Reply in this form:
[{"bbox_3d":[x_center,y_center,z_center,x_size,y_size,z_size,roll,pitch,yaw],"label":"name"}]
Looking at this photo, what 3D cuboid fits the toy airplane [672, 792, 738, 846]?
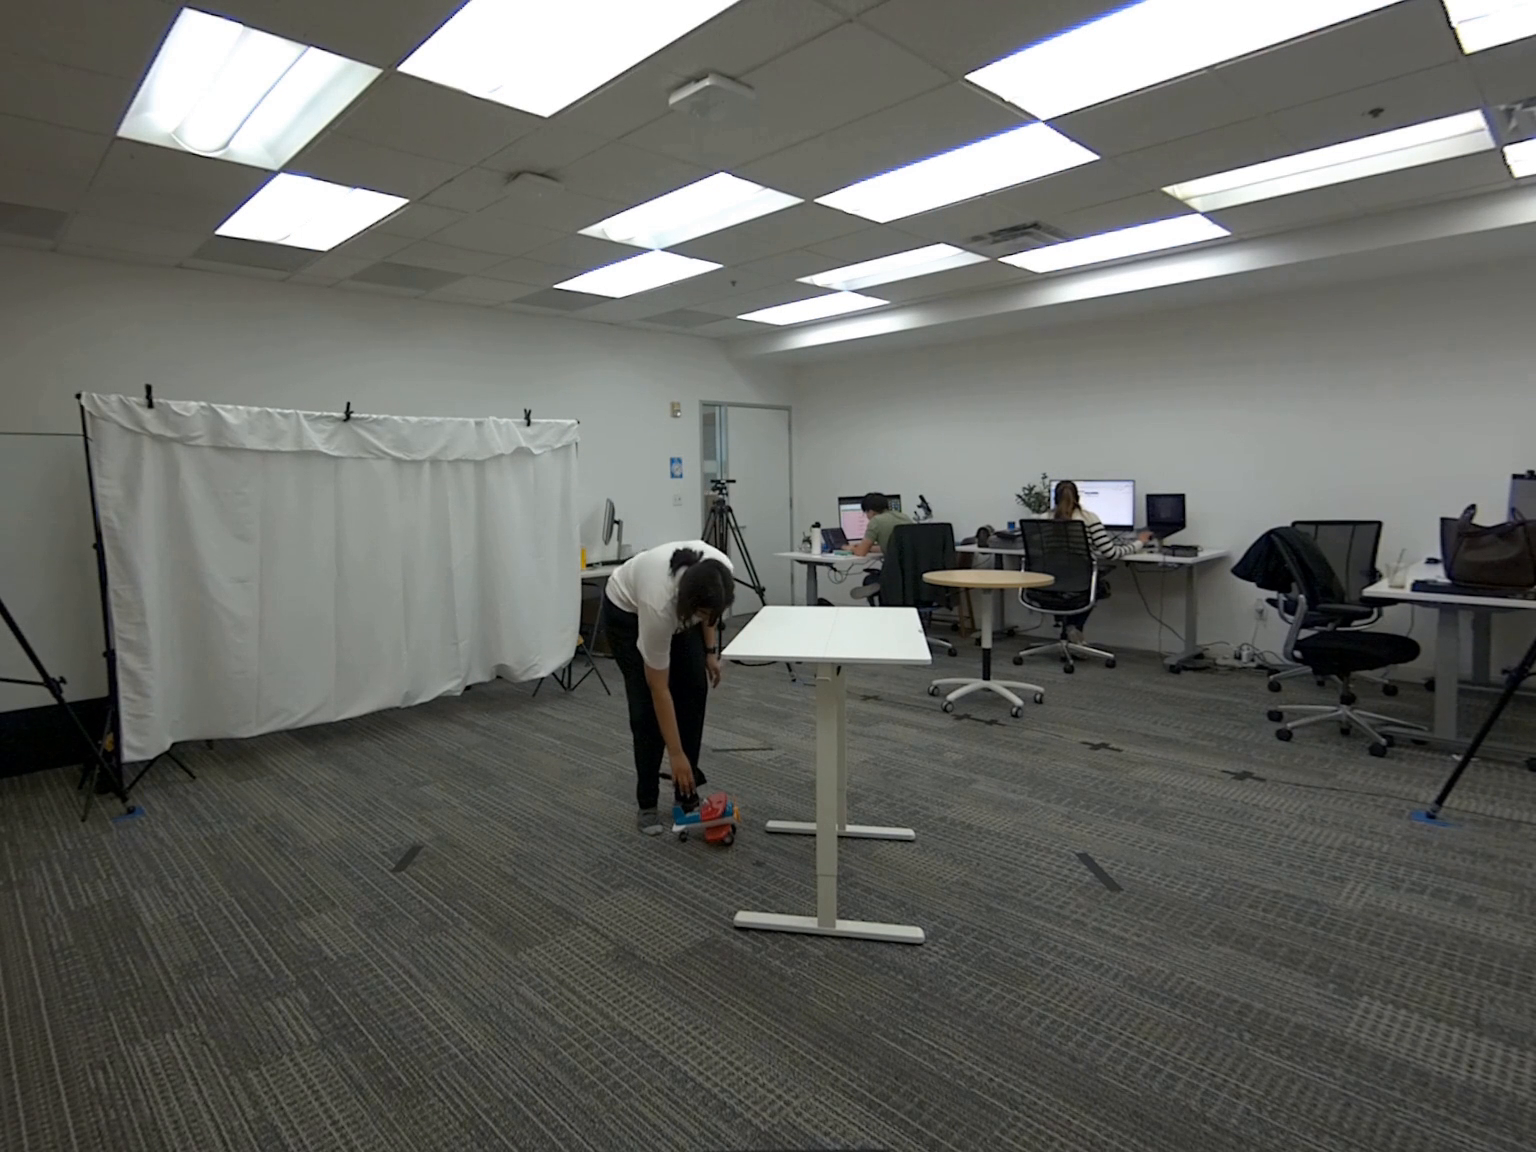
[{"bbox_3d":[-0.235,0.955,3.294,0.254,0.156,0.257,-3,5,-24],"label":"toy airplane"}]
